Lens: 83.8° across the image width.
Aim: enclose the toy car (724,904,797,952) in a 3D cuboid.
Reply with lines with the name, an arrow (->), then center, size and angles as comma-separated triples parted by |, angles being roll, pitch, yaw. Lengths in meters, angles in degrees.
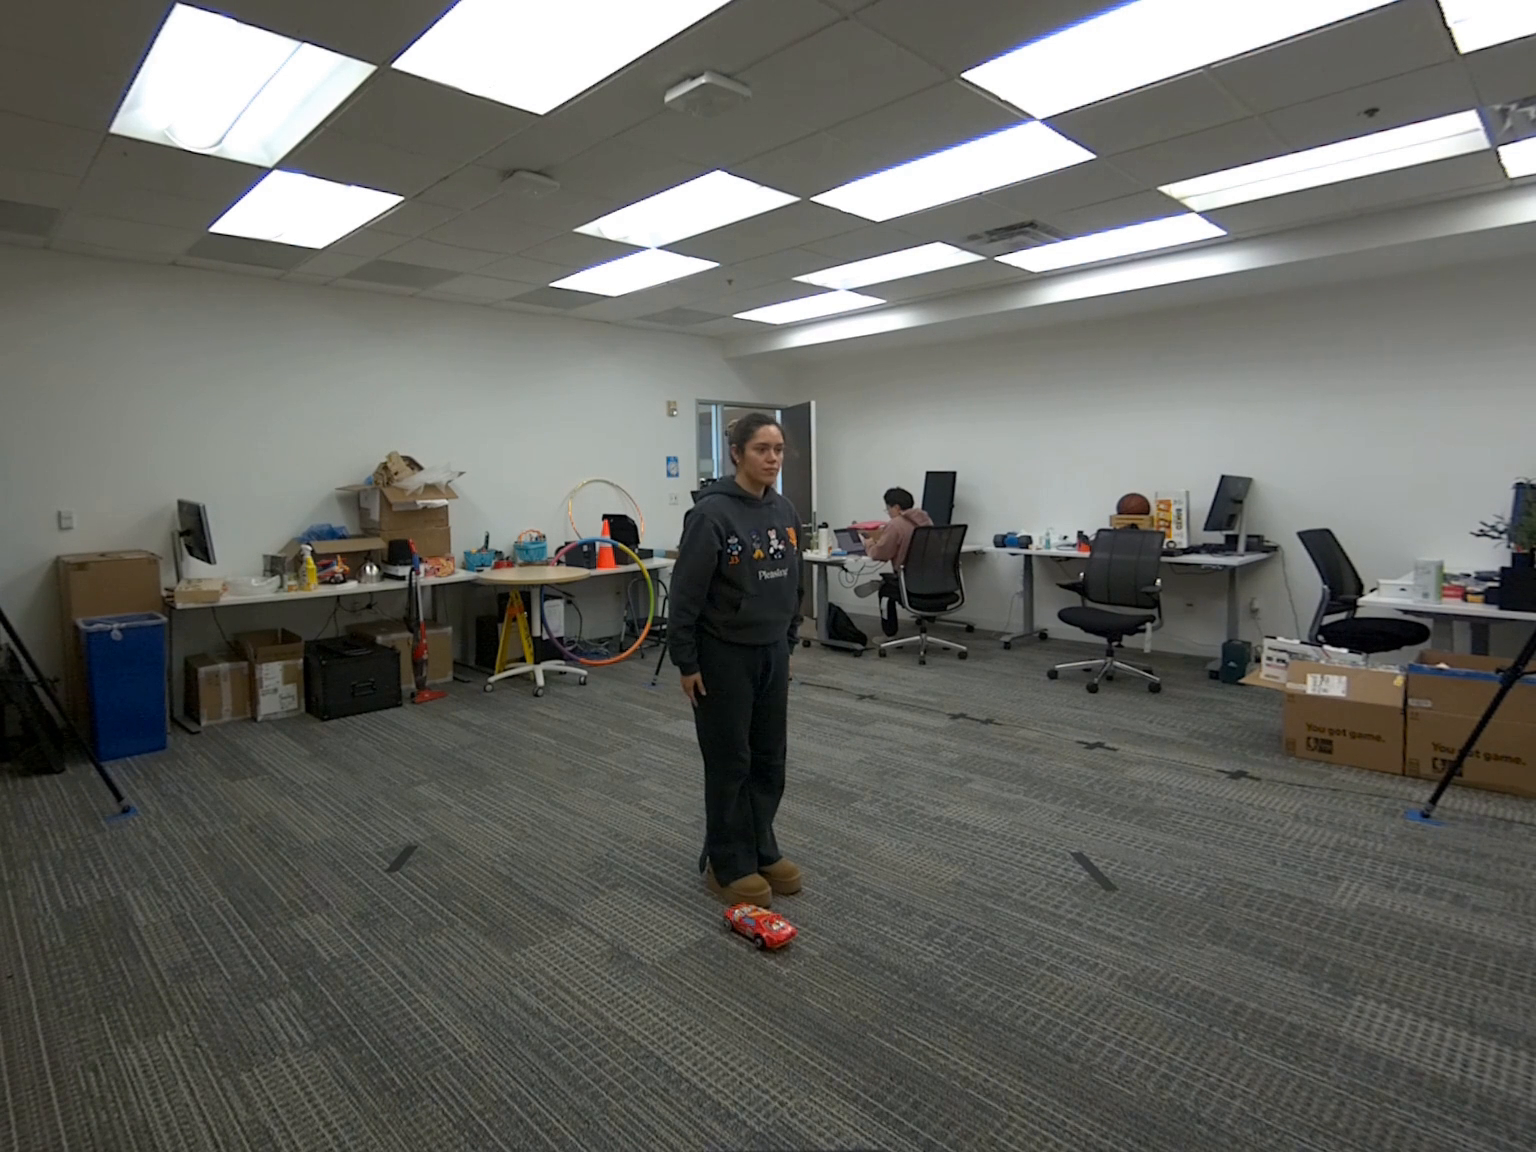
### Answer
toy car -> -0.018, 1.074, 2.591 | 0.127, 0.083, 0.260 | -7, -2, -41
